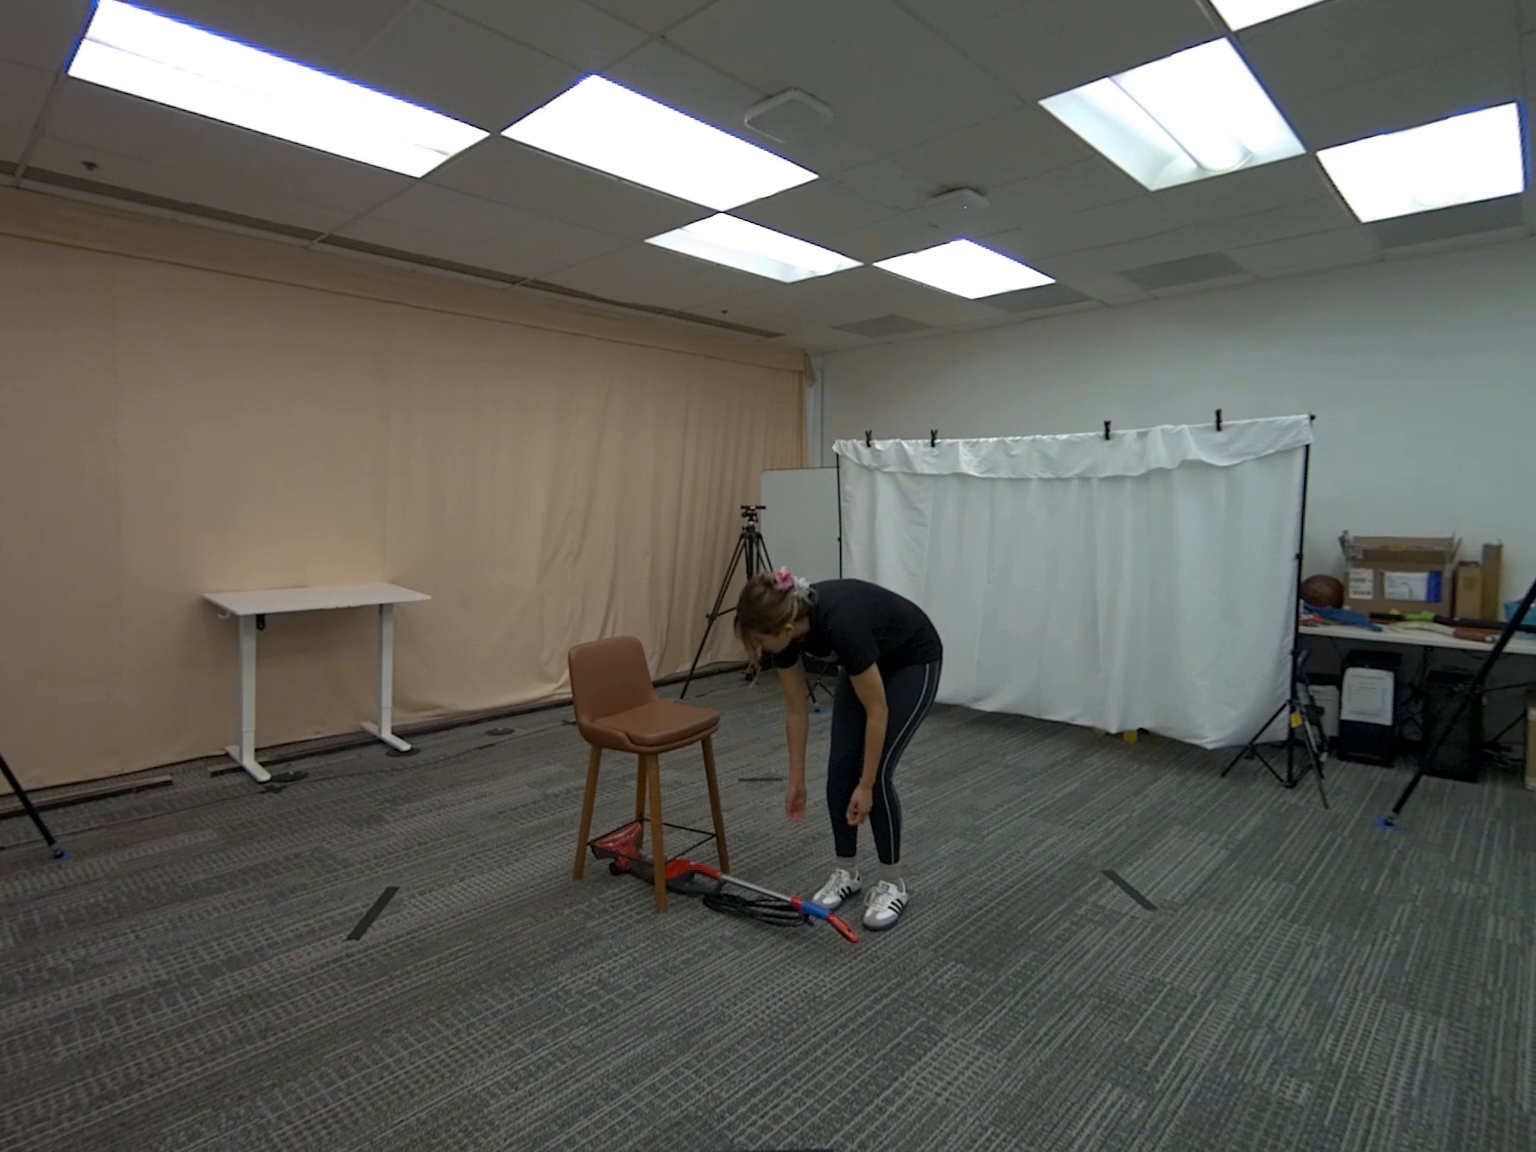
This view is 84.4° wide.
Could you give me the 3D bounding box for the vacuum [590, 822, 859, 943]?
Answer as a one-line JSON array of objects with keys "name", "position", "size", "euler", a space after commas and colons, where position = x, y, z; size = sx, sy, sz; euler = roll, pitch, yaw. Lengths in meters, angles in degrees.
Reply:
[{"name": "vacuum", "position": [-0.142, 1.098, 2.905], "size": [1.084, 0.143, 0.245], "euler": [4, 7, 38]}]
